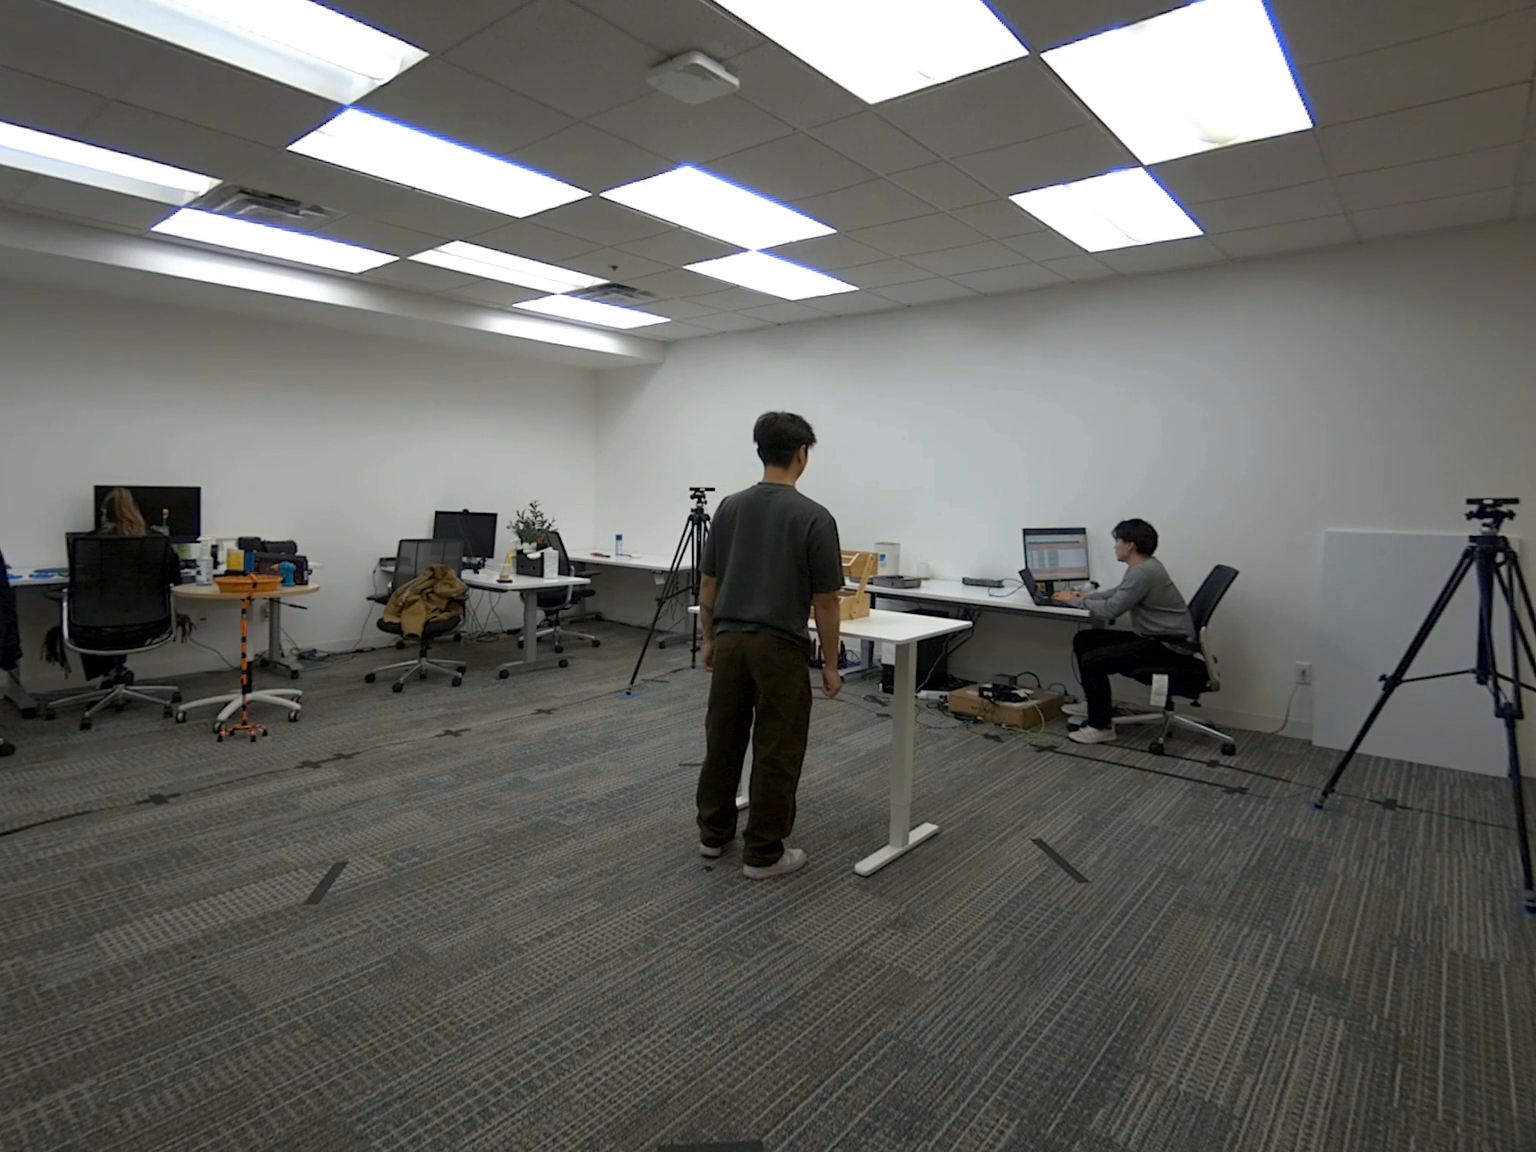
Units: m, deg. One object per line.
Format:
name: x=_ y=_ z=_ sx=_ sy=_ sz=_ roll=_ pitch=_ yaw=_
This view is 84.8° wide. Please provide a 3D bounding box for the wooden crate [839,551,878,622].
wooden crate: x=0.234 y=0.022 z=3.497 sx=0.336 sy=0.272 sz=0.293 roll=6 pitch=6 yaw=40
